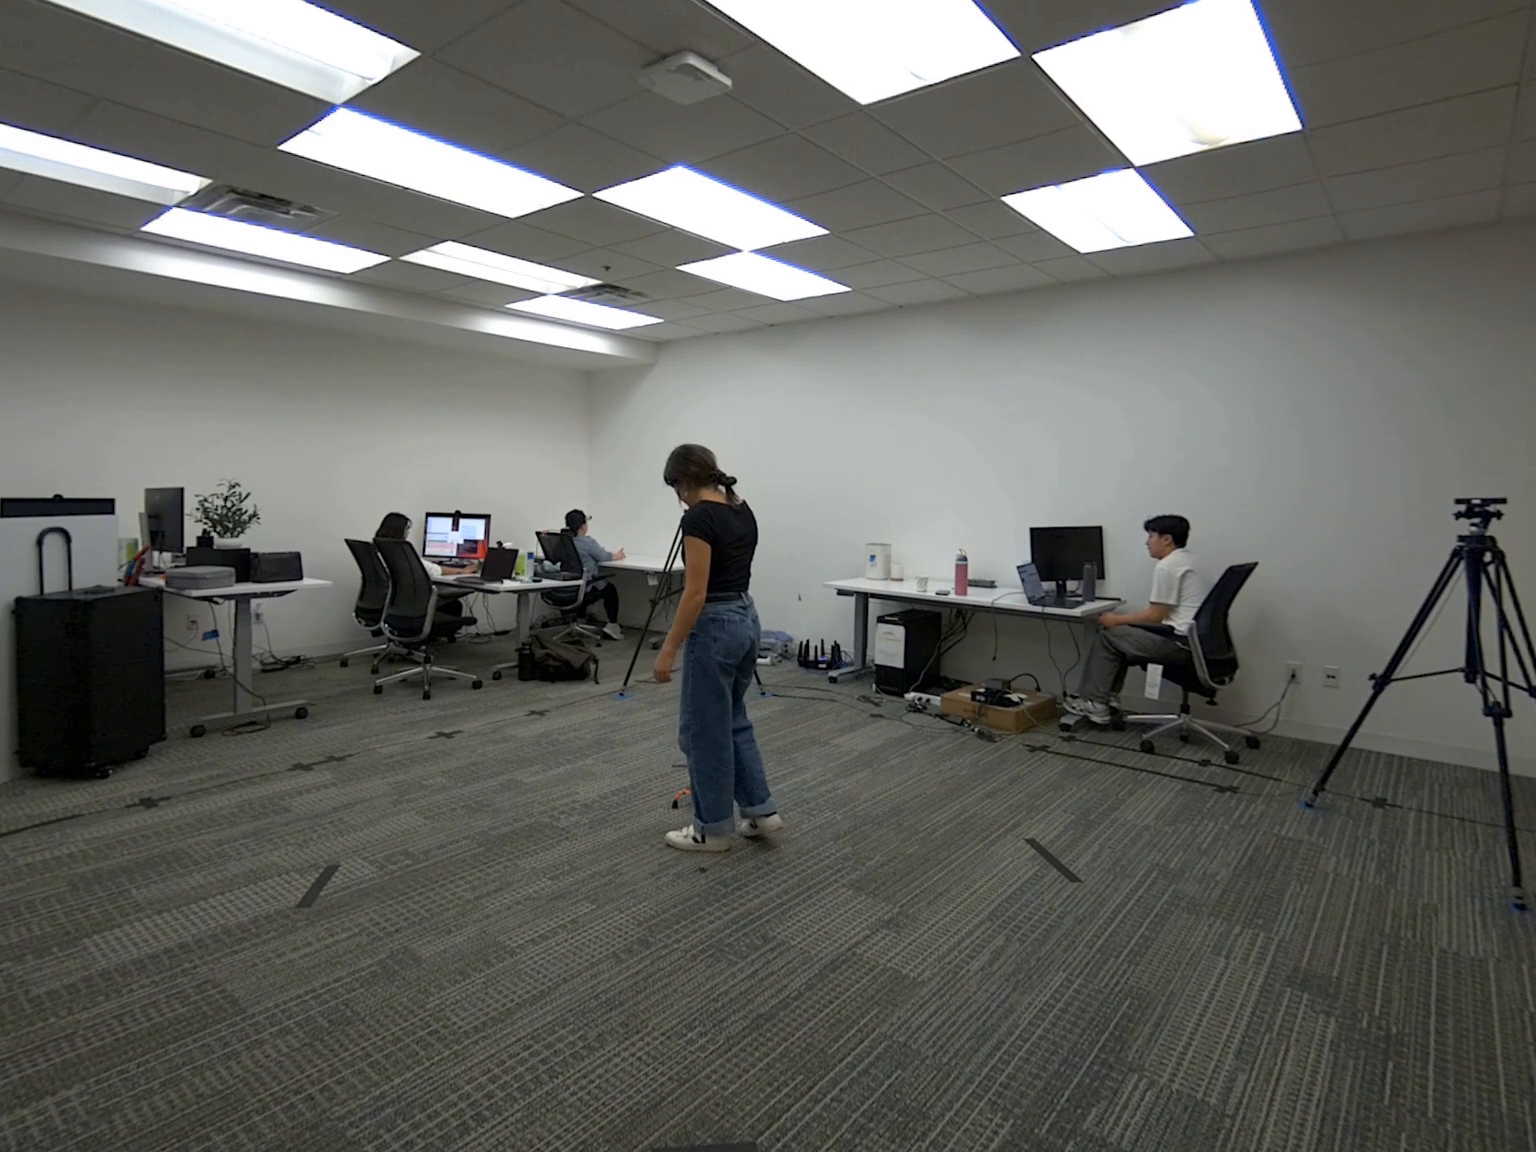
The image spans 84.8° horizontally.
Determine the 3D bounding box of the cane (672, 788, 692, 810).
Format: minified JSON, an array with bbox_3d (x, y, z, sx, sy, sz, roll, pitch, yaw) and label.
[{"bbox_3d":[-0.302,0.541,3.742,0.155,0.905,0.202,1,3,22],"label":"cane"}]
